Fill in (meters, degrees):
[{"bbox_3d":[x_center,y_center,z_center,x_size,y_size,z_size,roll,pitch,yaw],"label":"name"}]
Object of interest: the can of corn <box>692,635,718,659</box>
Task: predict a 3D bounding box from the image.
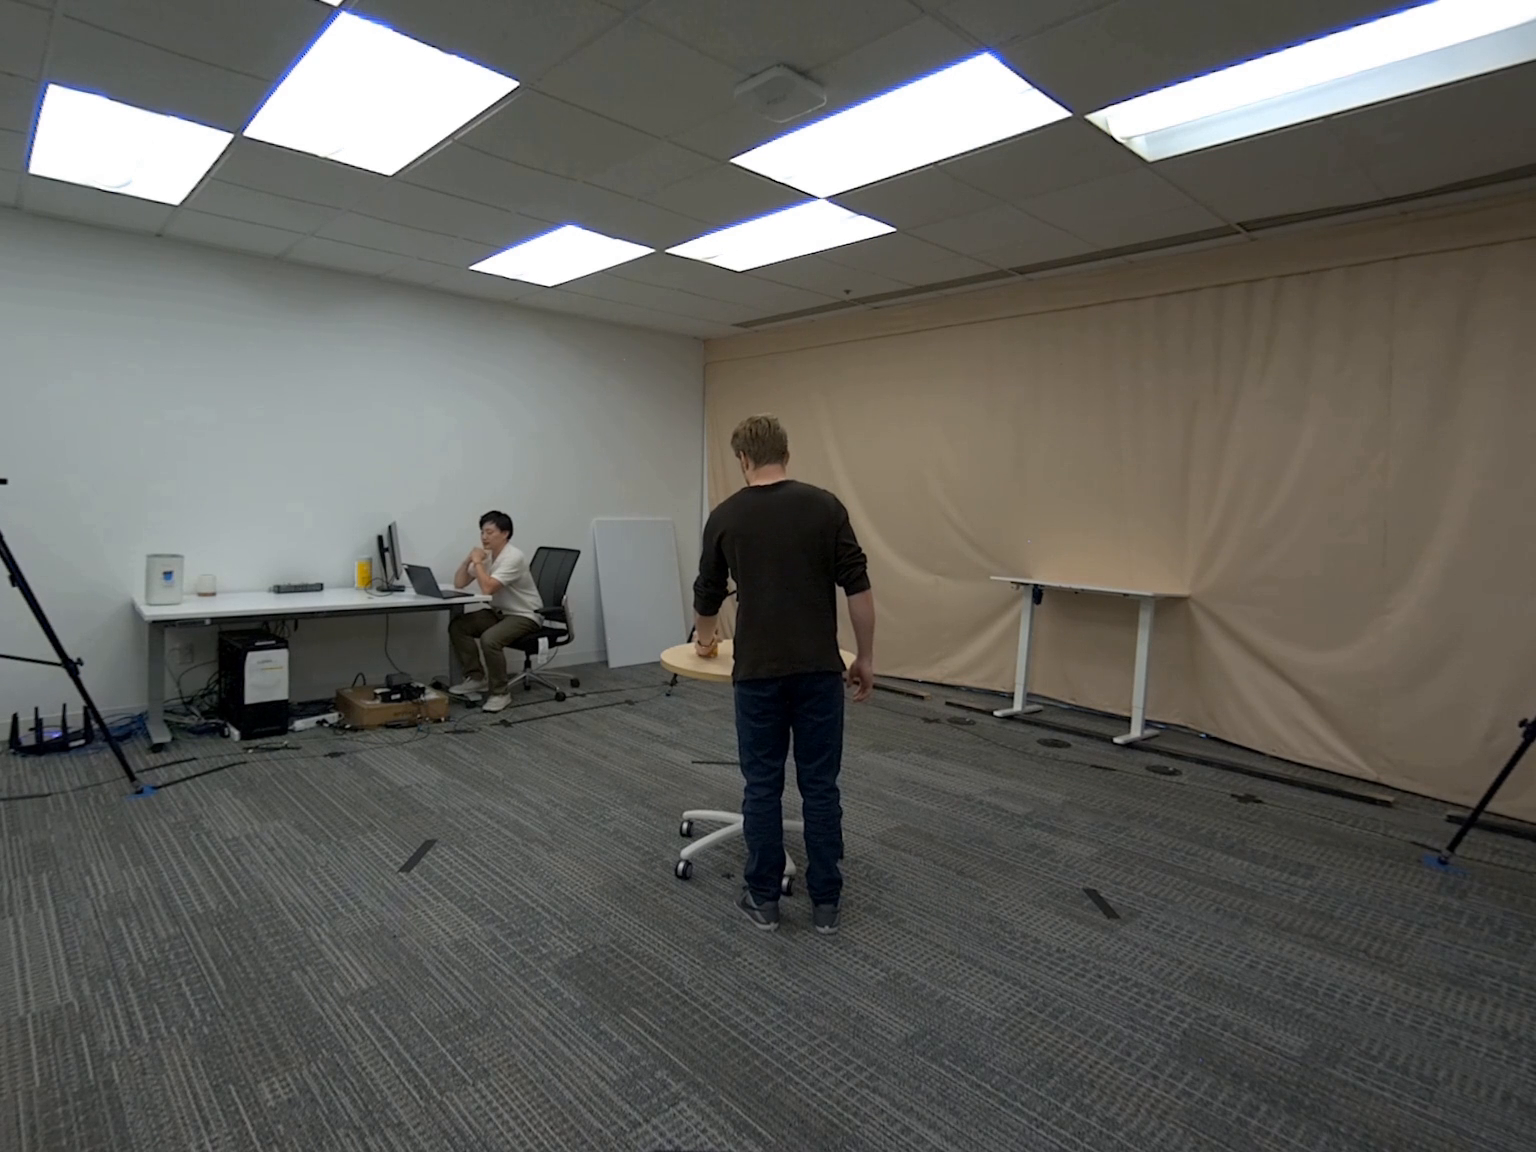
[{"bbox_3d":[-0.239,0.252,3.257,0.074,0.111,0.074,-1,1,-1],"label":"can of corn"}]
